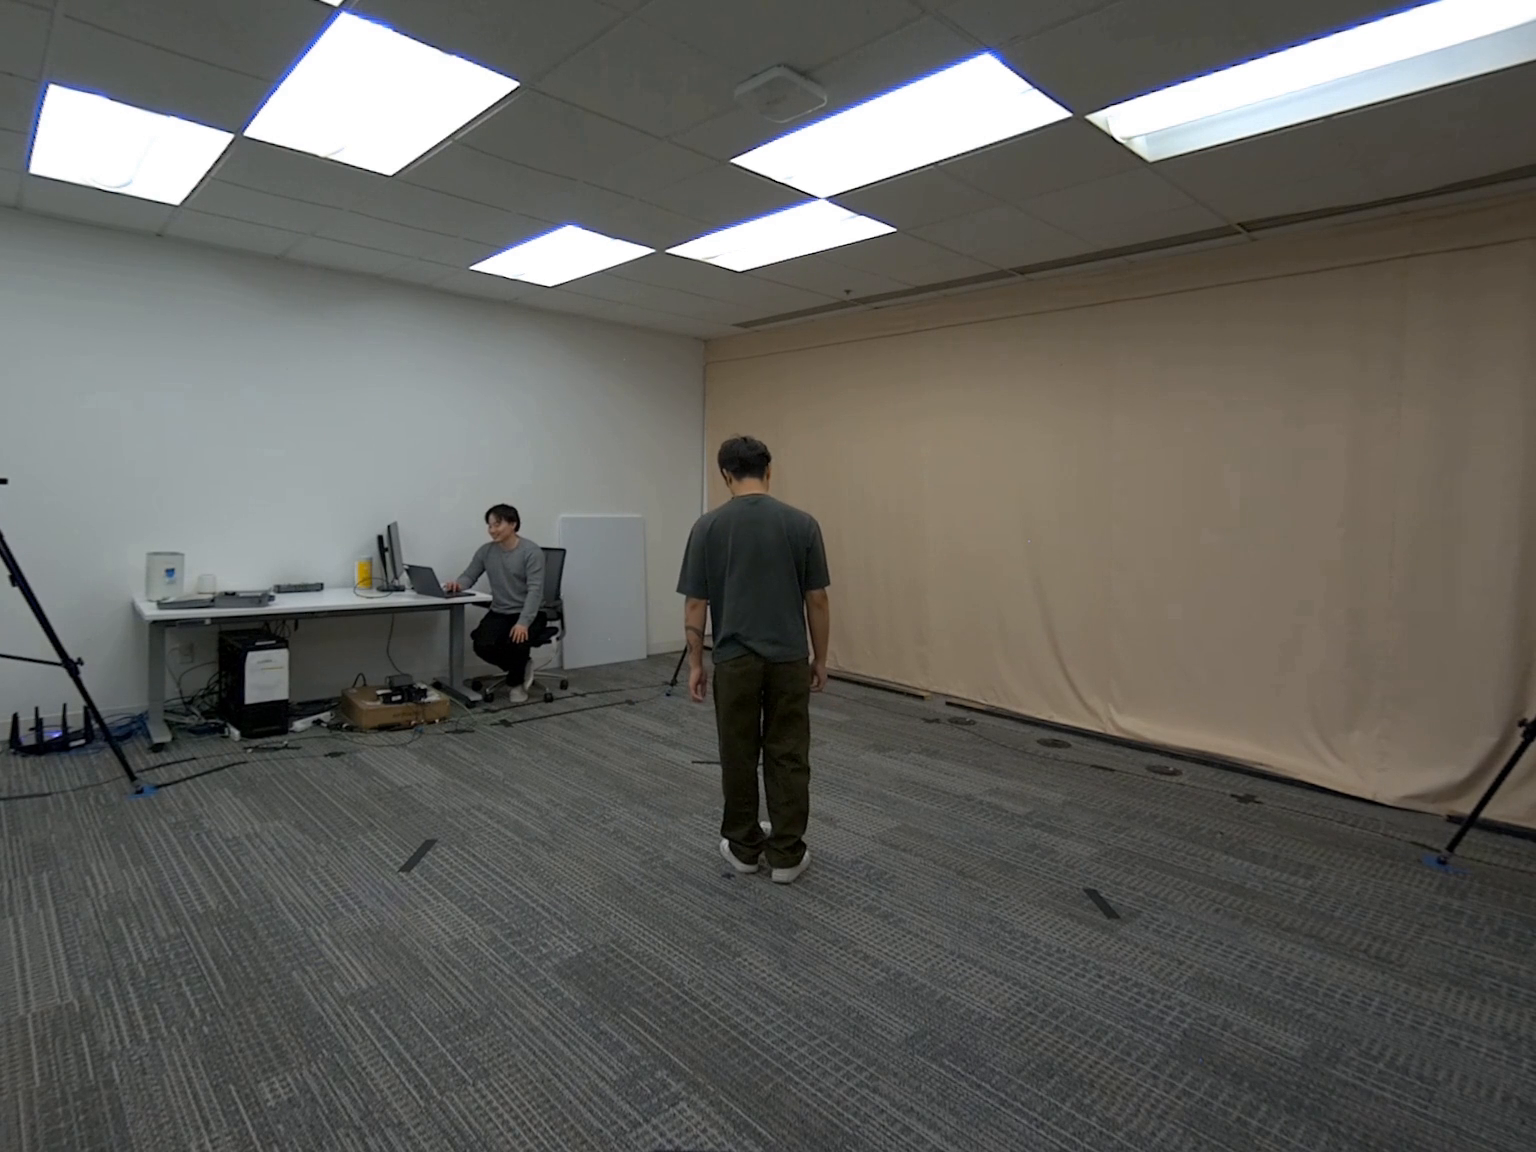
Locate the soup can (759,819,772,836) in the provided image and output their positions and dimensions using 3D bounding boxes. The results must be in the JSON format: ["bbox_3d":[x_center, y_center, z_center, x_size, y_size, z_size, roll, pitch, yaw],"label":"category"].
[{"bbox_3d":[0.023,1.048,3.441,0.124,0.067,0.066,5,5,22],"label":"soup can"}]
